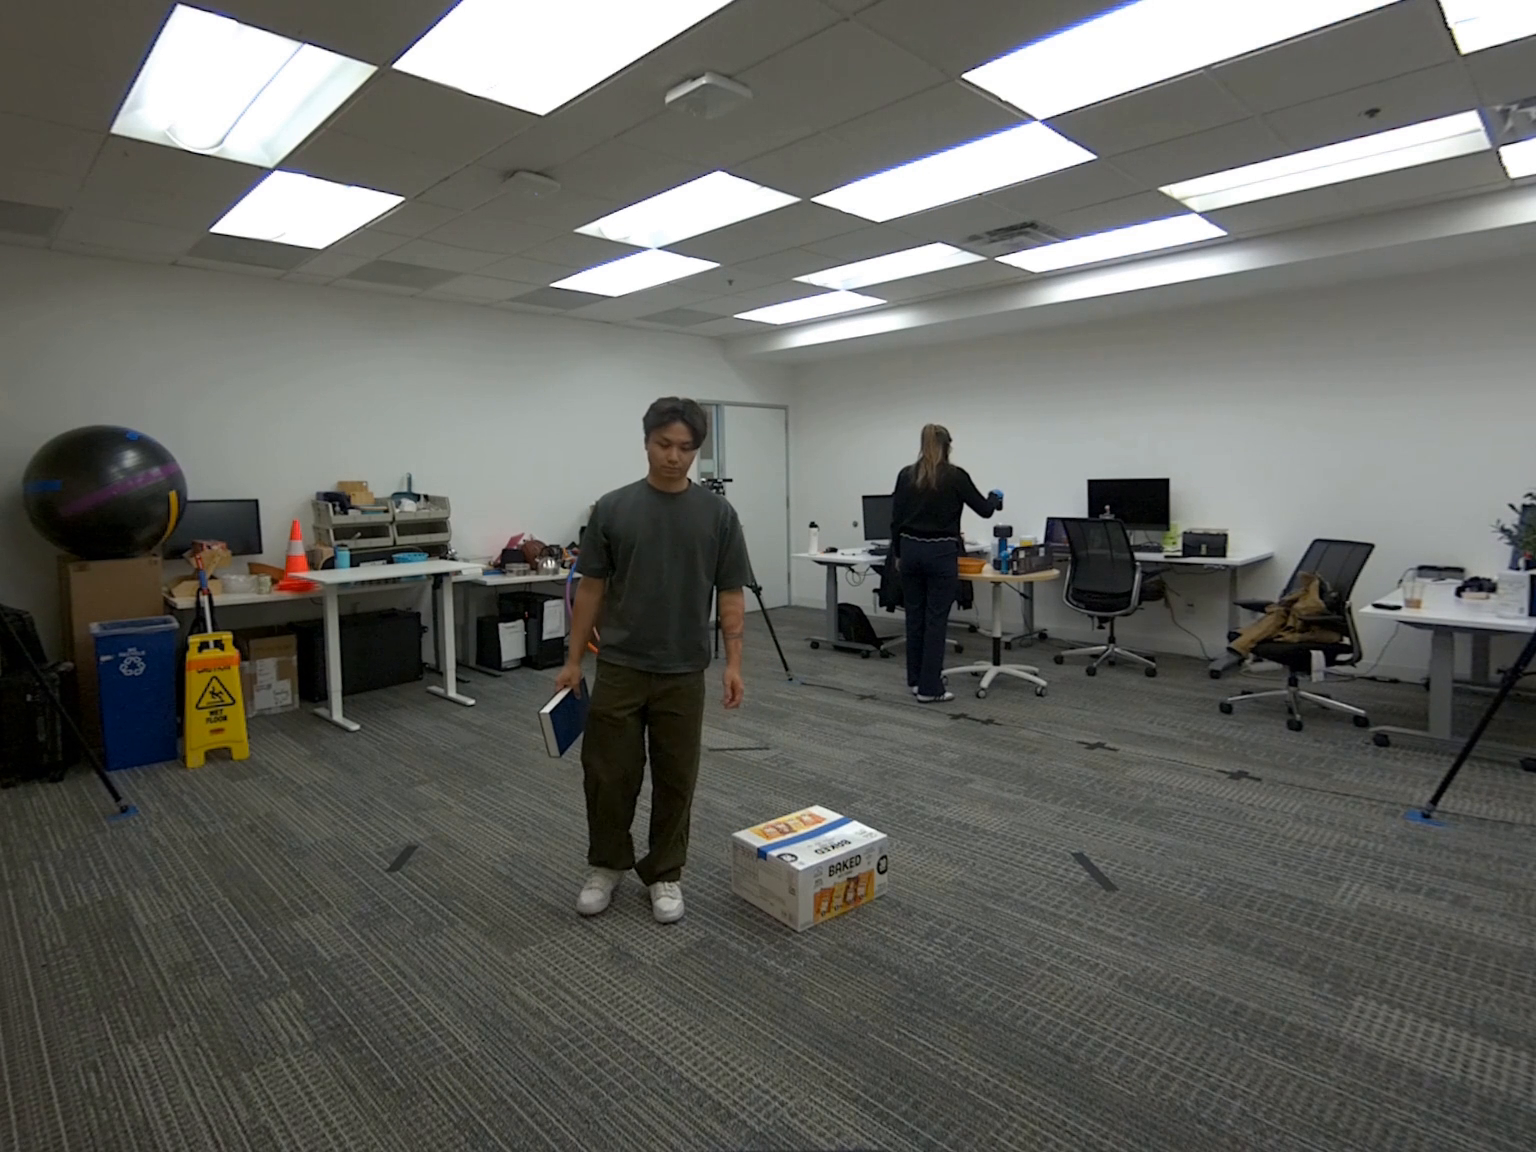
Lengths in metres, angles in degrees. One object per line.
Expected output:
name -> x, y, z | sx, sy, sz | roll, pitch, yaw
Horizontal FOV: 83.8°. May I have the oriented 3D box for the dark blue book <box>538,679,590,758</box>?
dark blue book -> -0.648, 0.451, 2.767 | 0.046, 0.161, 0.245 | -3, 17, 16
